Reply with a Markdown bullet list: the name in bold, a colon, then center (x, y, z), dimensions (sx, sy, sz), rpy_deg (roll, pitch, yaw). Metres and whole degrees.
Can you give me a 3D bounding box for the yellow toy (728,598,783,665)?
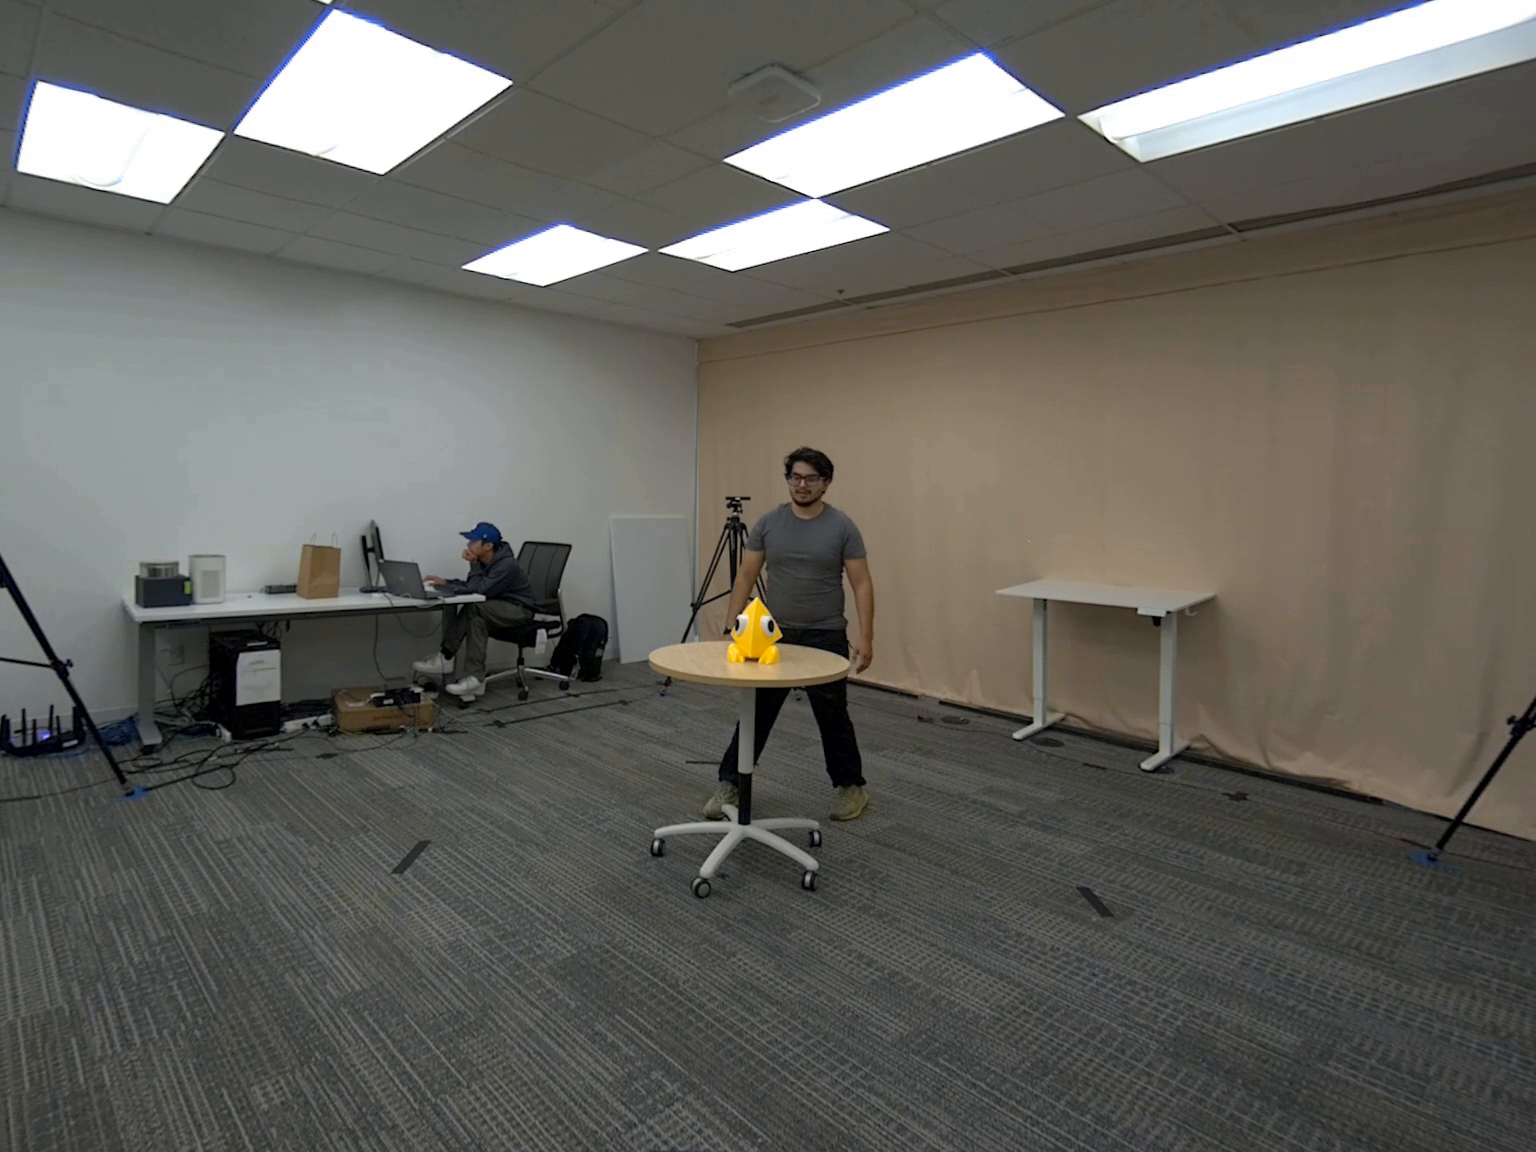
- **yellow toy**: center (-0.063, 0.204, 3.194), dimensions (0.206, 0.230, 0.192), rpy_deg (2, 4, 7)
